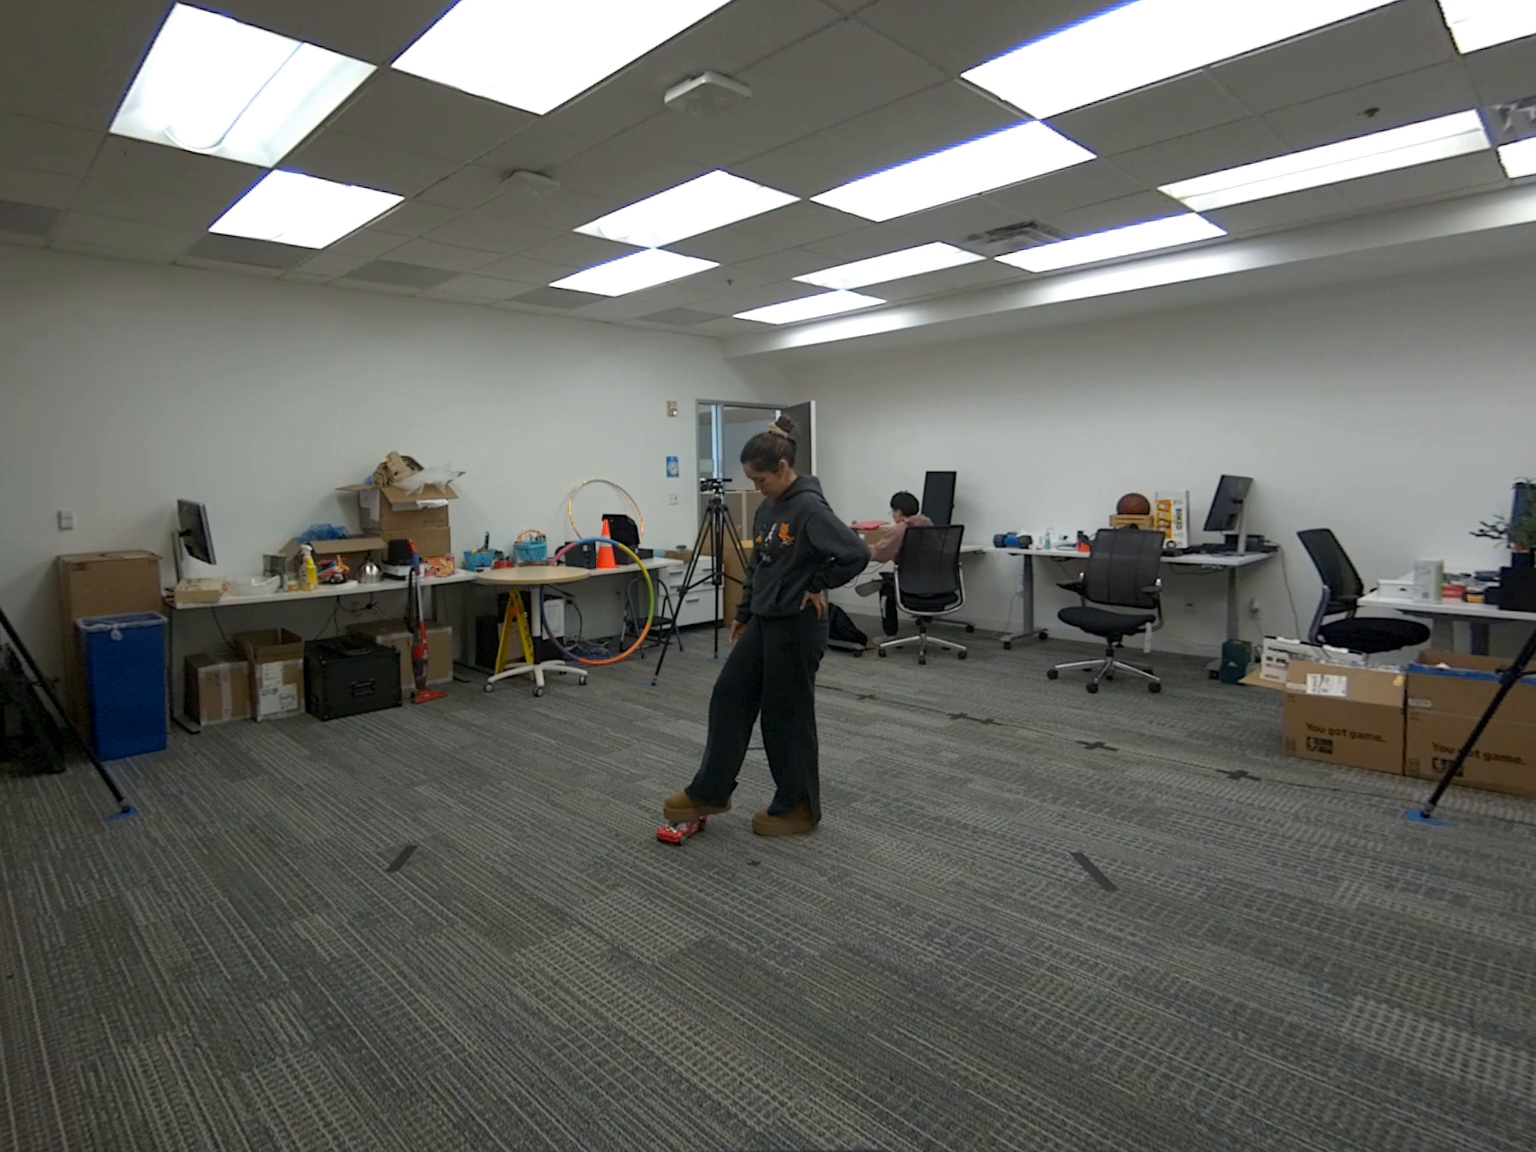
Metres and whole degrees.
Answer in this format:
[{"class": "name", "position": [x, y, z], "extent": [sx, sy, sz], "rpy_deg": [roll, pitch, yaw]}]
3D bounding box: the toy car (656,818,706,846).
[{"class": "toy car", "position": [-0.327, 0.990, 3.377], "extent": [0.133, 0.082, 0.252], "rpy_deg": [1, 16, 27]}]
